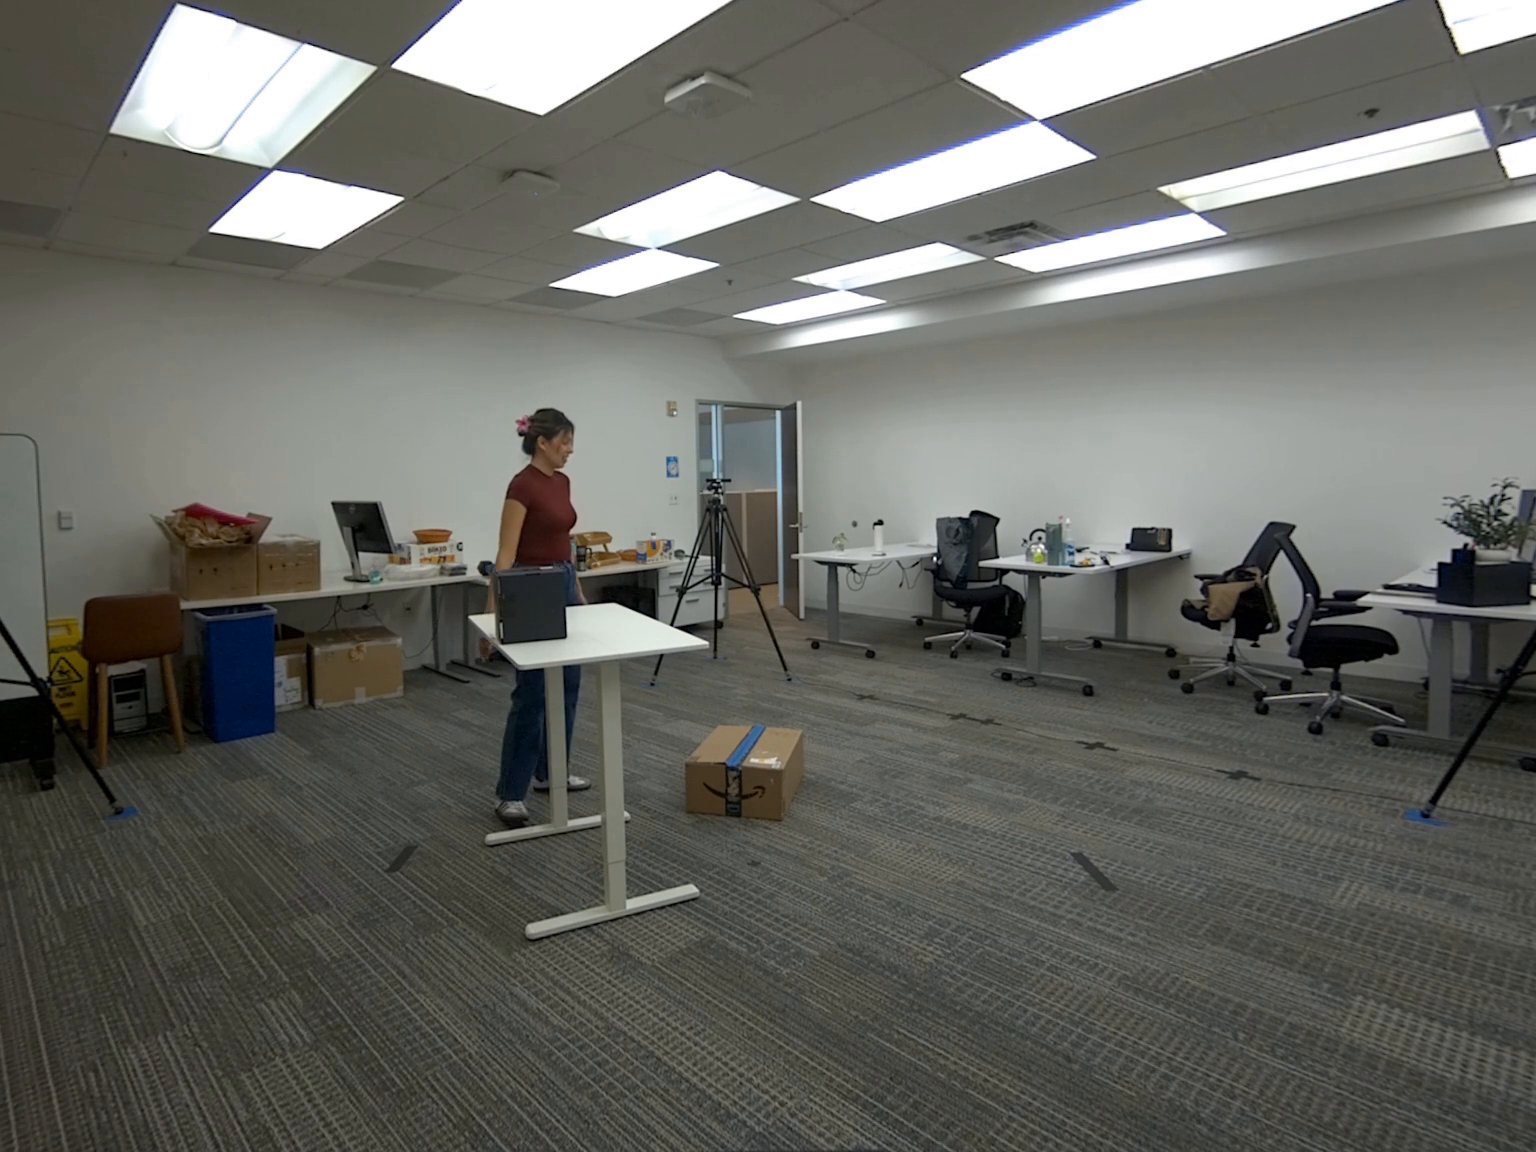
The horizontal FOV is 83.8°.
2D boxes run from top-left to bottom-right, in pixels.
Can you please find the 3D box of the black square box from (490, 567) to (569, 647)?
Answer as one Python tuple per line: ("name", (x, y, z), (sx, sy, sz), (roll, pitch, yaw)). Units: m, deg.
("black square box", (-0.798, 0.094, 2.858), (0.213, 0.227, 0.160), (-5, 6, -24))
